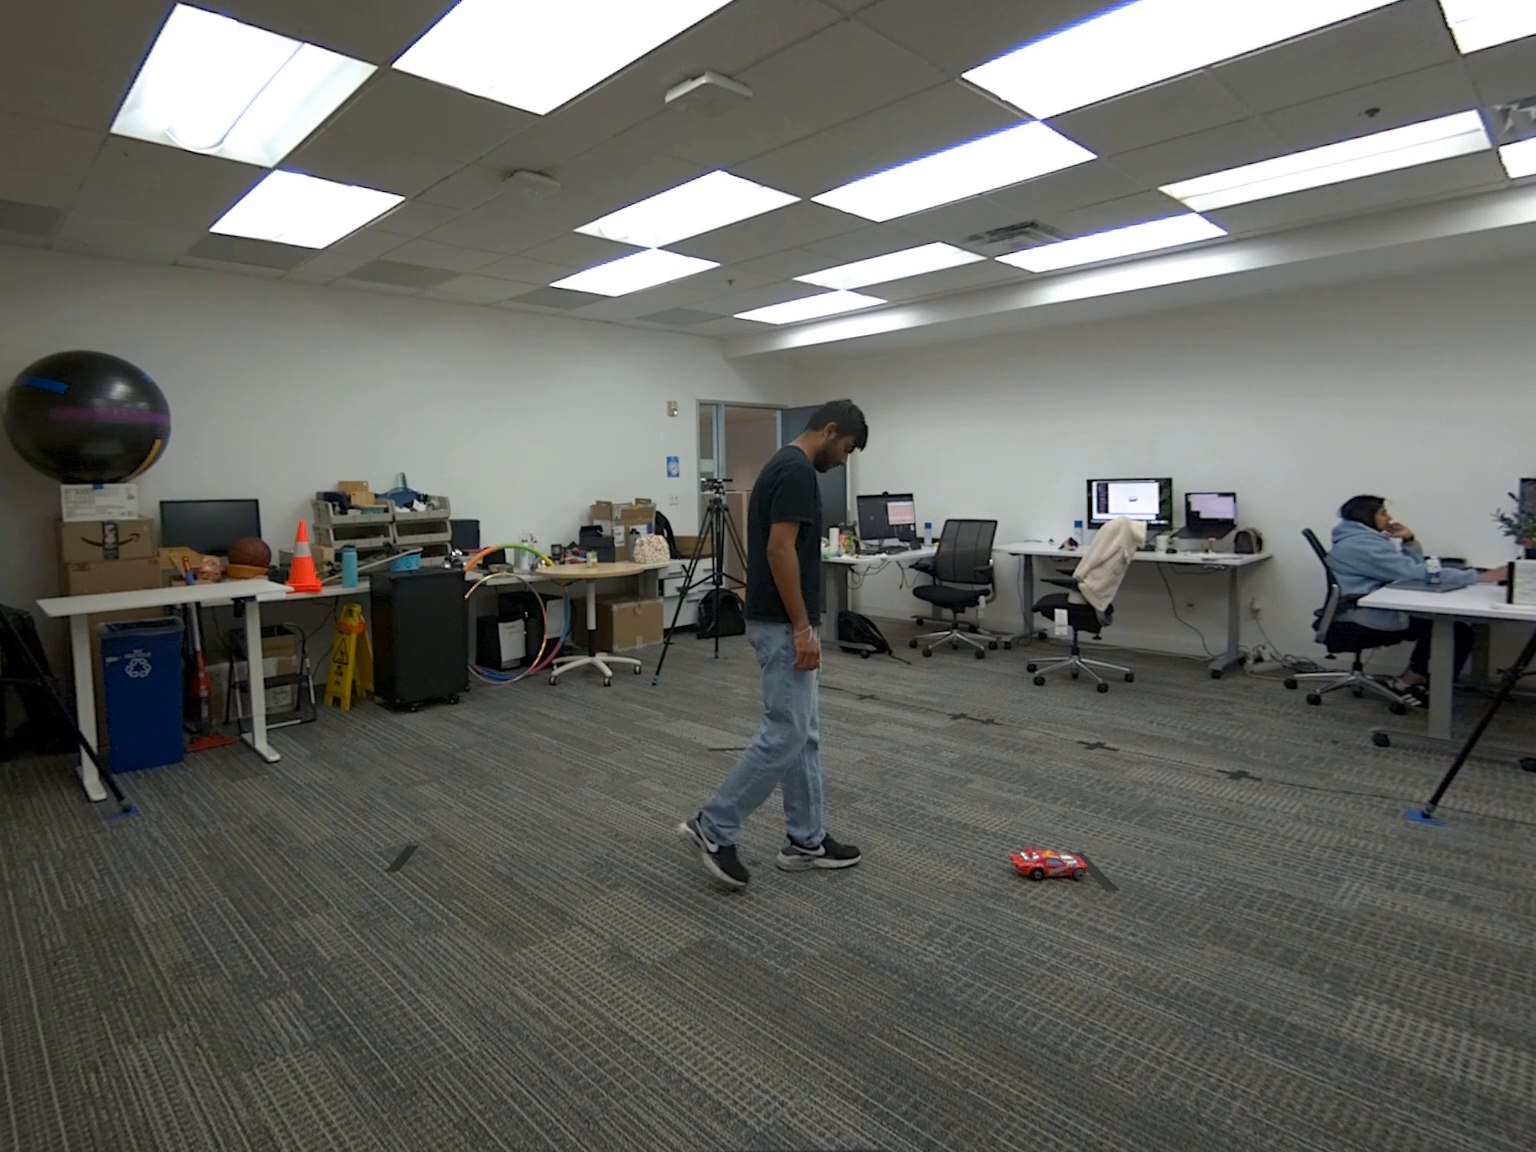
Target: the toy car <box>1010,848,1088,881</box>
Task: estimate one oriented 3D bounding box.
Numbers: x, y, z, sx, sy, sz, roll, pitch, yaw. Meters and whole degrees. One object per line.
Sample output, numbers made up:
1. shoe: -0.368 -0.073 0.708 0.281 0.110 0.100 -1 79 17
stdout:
1. toy car: 0.975 1.008 2.980 0.254 0.083 0.131 9 6 -1
